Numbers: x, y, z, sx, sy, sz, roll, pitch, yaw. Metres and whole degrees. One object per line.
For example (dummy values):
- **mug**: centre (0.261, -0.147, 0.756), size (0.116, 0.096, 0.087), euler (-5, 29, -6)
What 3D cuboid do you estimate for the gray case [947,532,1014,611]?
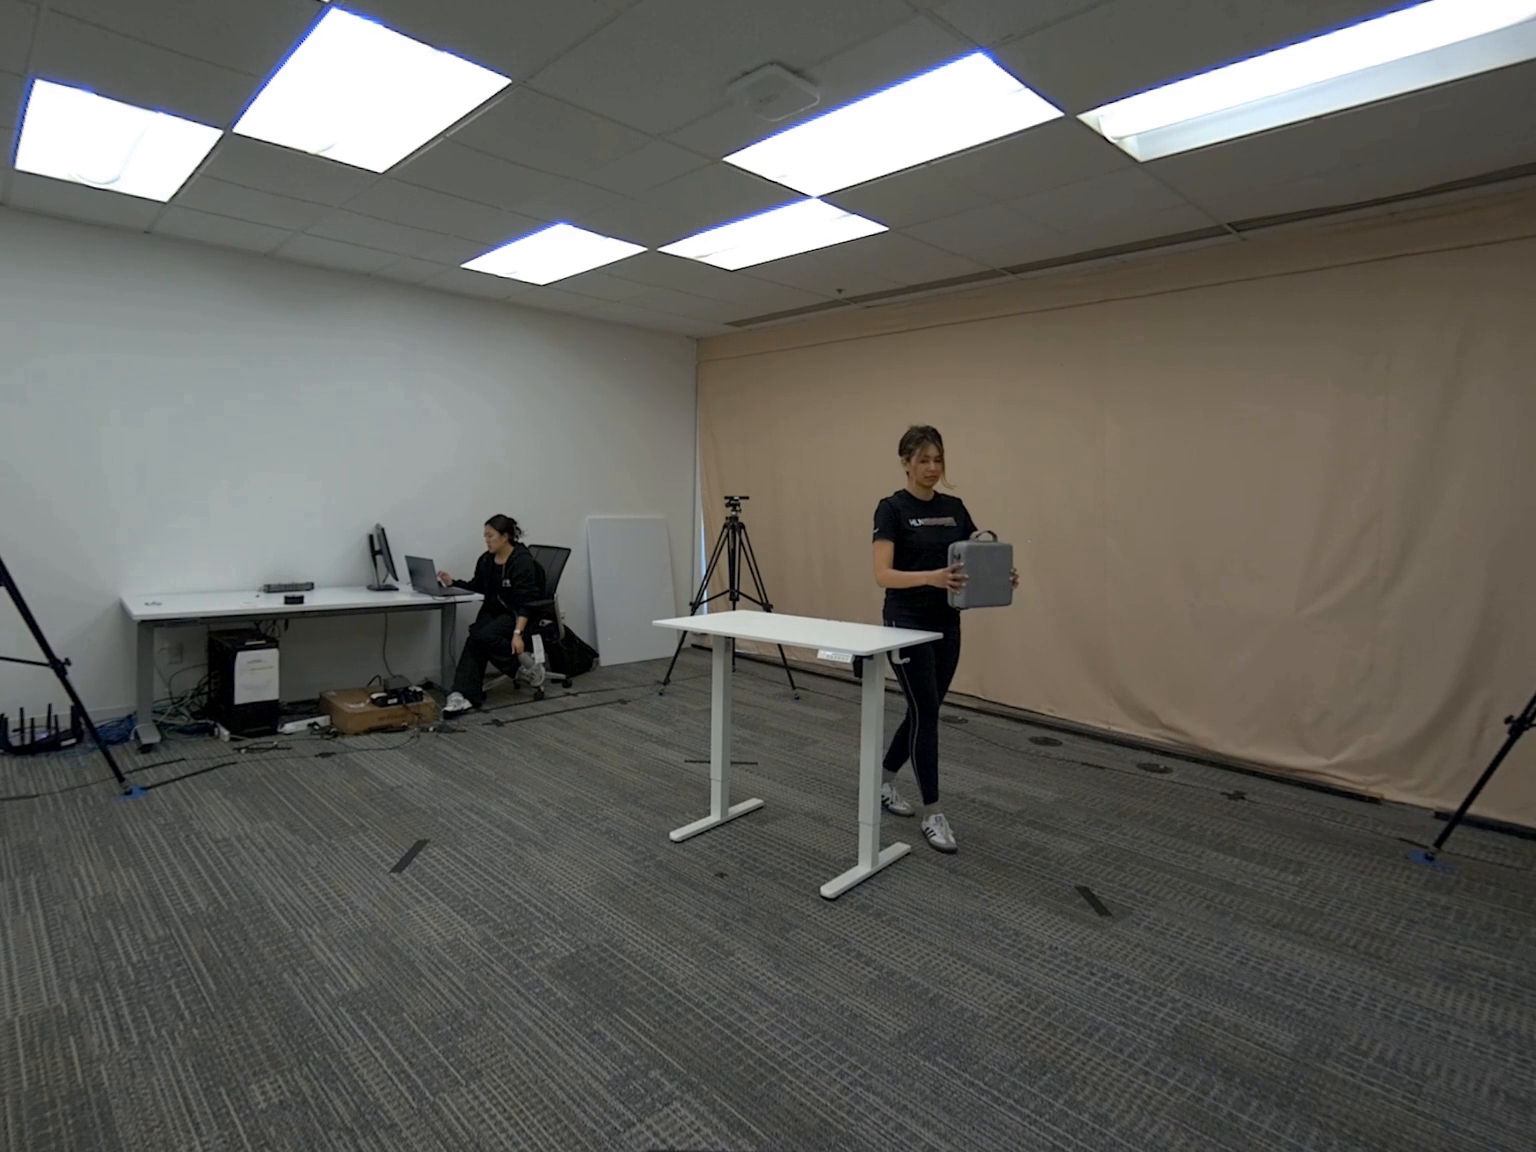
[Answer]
- **gray case**: centre (0.799, -0.012, 3.222), size (0.252, 0.260, 0.106), euler (-2, 2, -27)
